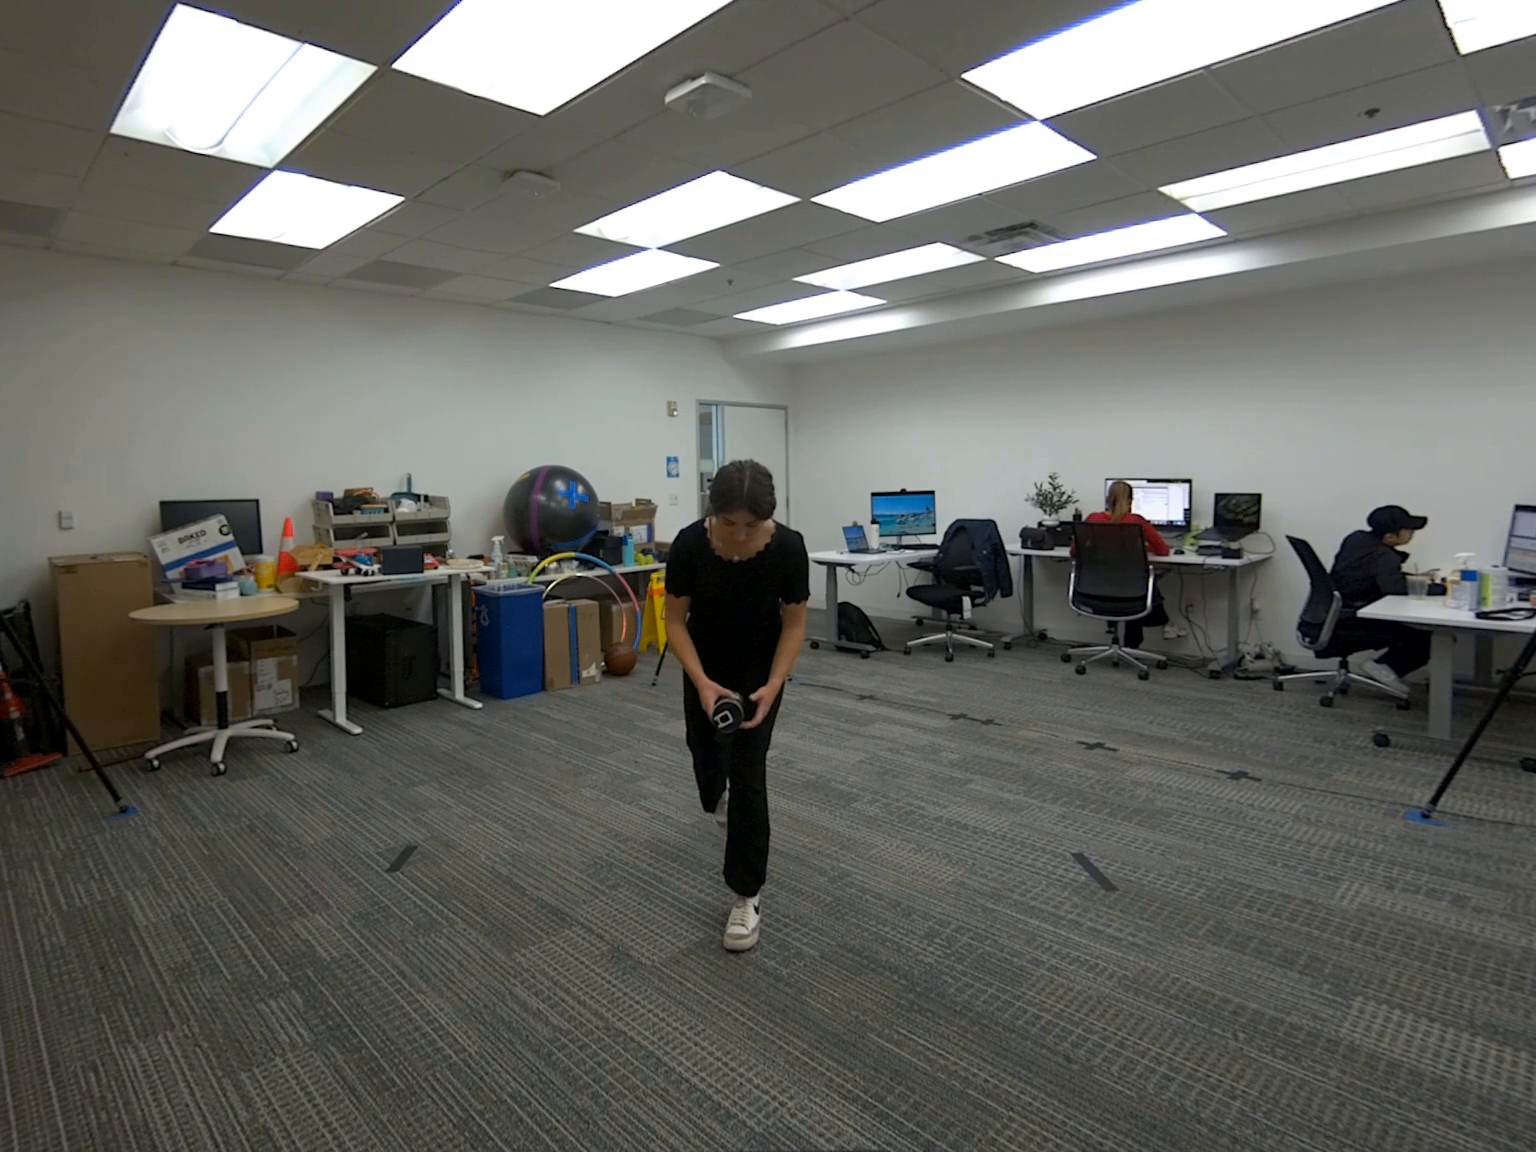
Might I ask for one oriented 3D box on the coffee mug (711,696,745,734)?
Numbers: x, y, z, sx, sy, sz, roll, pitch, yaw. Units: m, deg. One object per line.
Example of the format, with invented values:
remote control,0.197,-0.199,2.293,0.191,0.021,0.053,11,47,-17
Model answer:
coffee mug,-0.130,0.412,2.461,0.087,0.122,0.204,7,-1,-6
